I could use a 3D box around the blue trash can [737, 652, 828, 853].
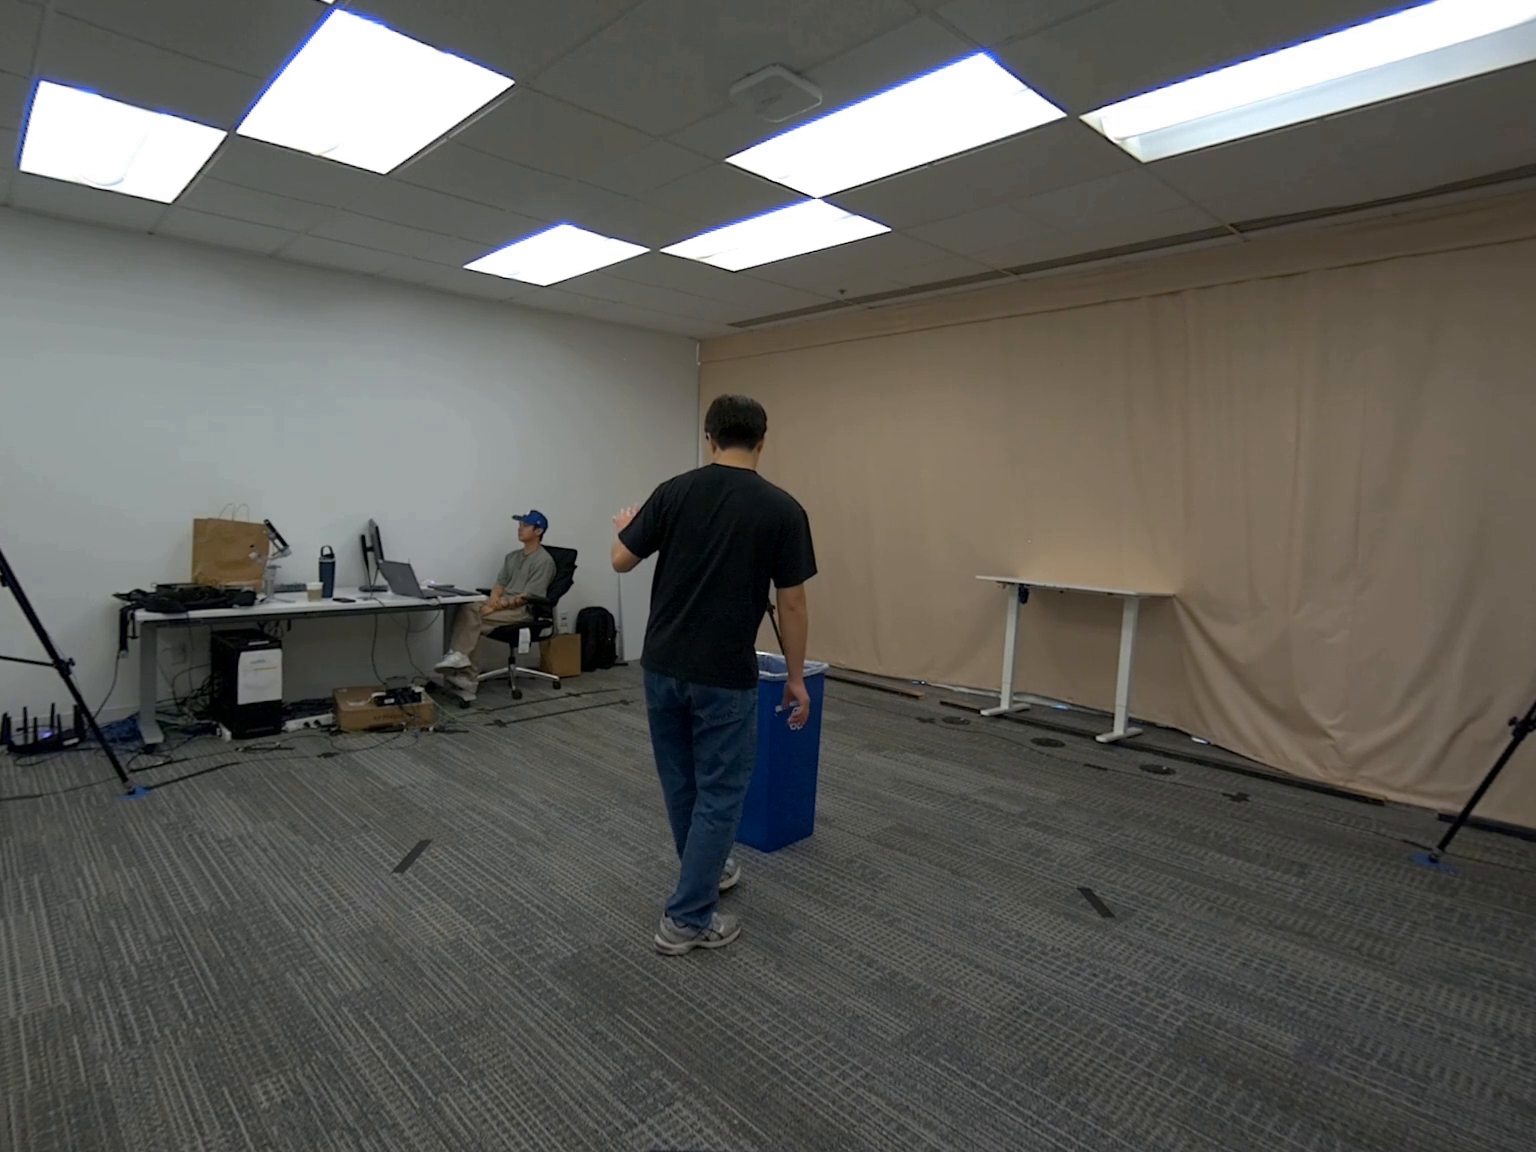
[{"bbox_3d":[-0.007,0.718,3.508,0.388,0.712,0.365,5,5,41],"label":"blue trash can"}]
